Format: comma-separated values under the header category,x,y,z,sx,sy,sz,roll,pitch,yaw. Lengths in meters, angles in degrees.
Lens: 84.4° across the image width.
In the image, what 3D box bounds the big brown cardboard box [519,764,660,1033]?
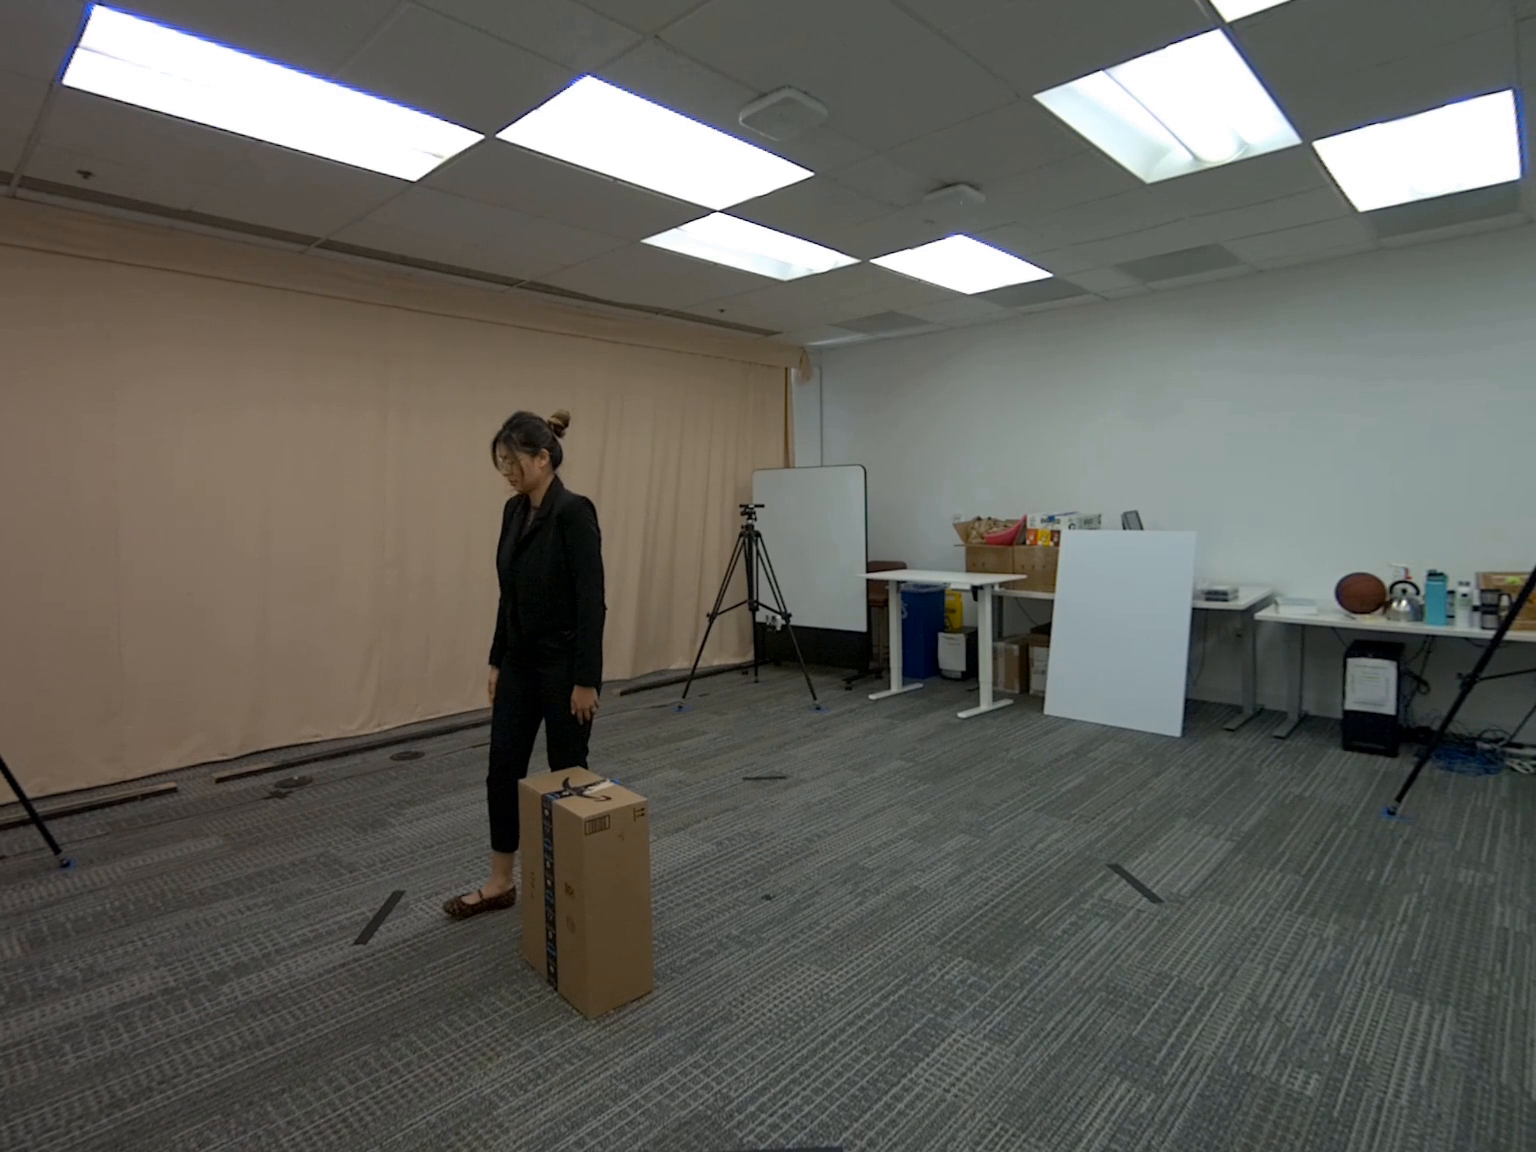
category,x,y,z,sx,sy,sz,roll,pitch,yaw
big brown cardboard box,-0.539,0.914,2.503,0.226,0.587,0.431,-4,6,-38
